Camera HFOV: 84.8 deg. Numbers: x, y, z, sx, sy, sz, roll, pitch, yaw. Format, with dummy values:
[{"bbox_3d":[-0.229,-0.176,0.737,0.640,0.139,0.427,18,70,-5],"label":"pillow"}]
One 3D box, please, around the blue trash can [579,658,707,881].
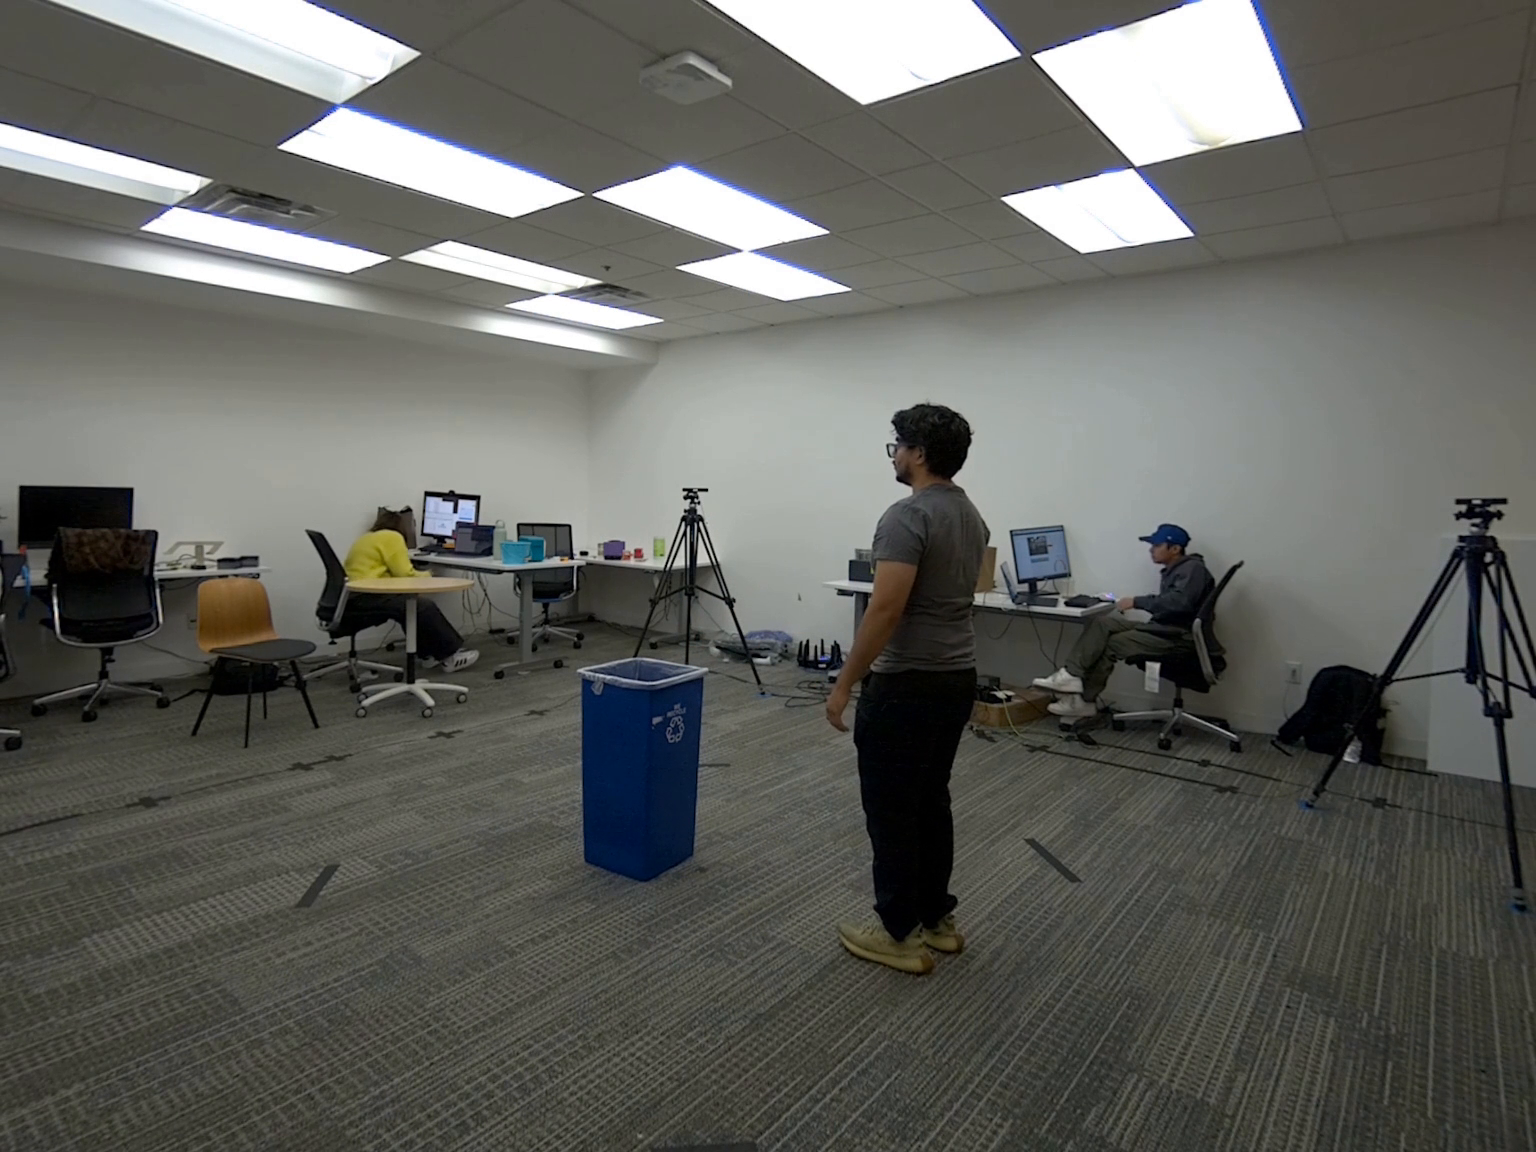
[{"bbox_3d":[-0.482,0.699,3.189,0.390,0.712,0.364,3,4,32],"label":"blue trash can"}]
